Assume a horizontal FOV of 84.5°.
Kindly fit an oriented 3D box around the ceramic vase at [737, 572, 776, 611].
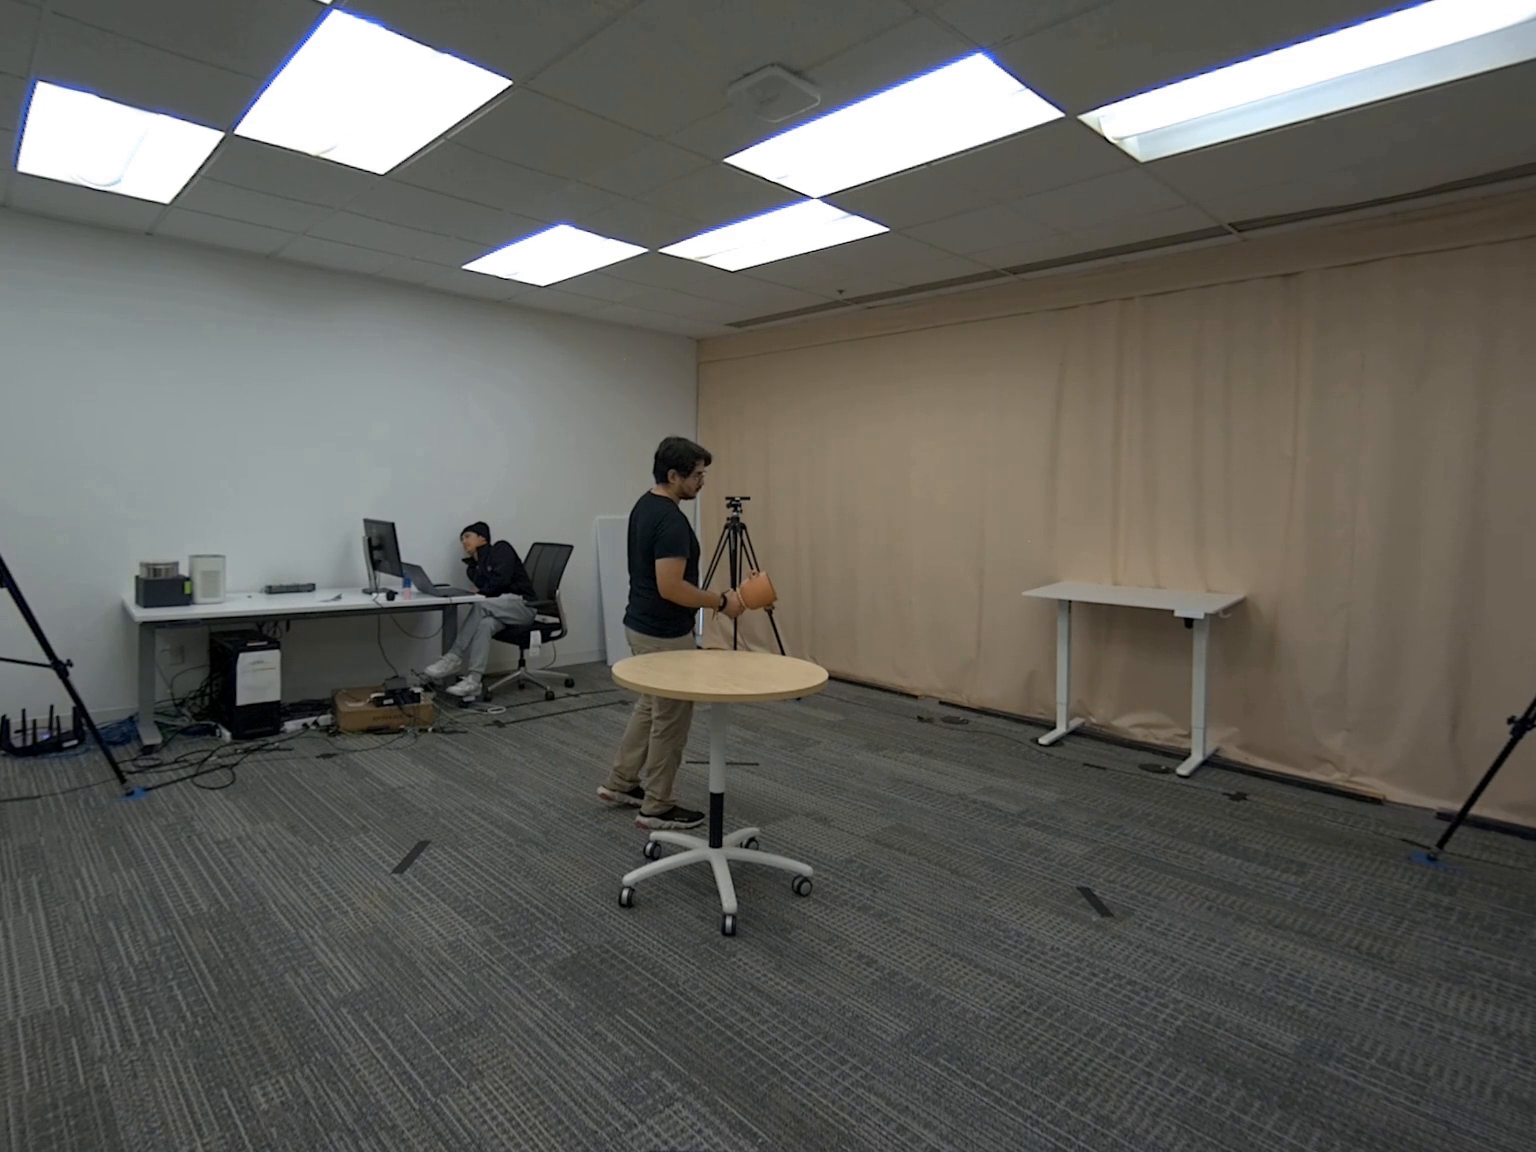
[{"bbox_3d":[-0.096,0.080,3.529,0.219,0.161,0.133,-26,-13,-3],"label":"ceramic vase"}]
